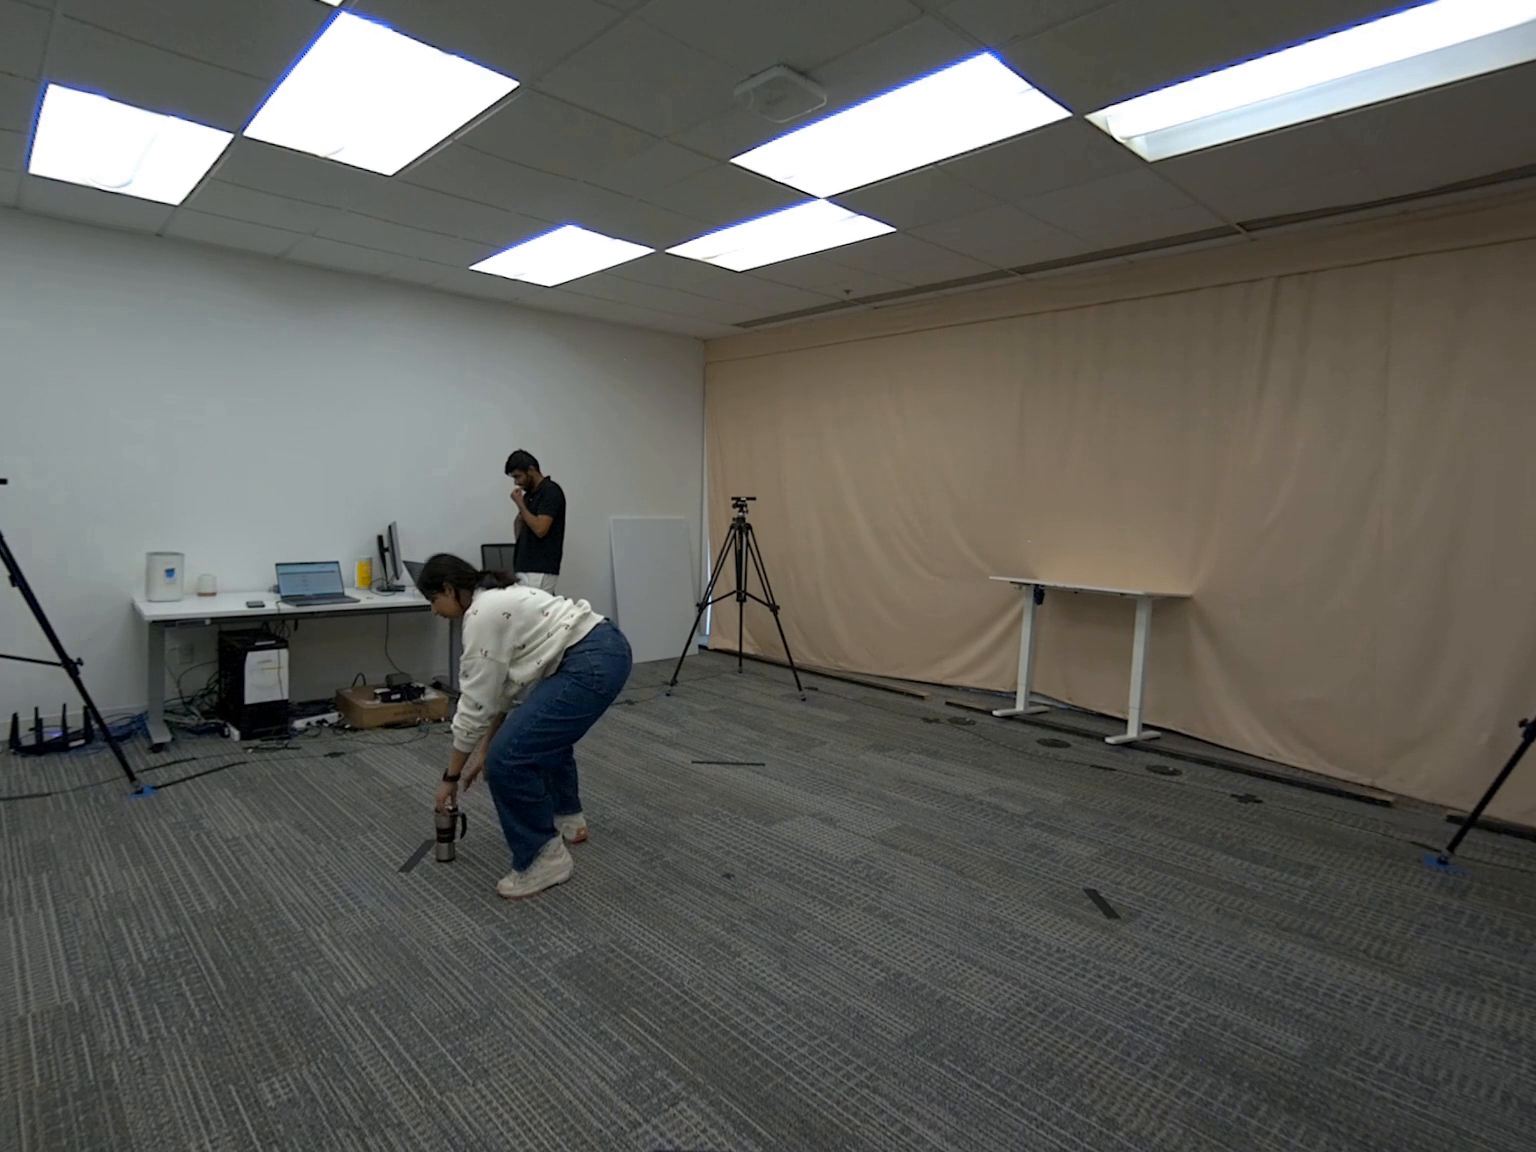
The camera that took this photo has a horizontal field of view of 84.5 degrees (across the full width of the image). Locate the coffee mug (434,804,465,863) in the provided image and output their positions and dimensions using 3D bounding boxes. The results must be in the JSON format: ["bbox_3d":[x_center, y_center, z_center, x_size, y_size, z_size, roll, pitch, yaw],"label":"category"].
[{"bbox_3d":[-1.233,0.976,3.207,0.086,0.202,0.124,-2,7,-24],"label":"coffee mug"}]
